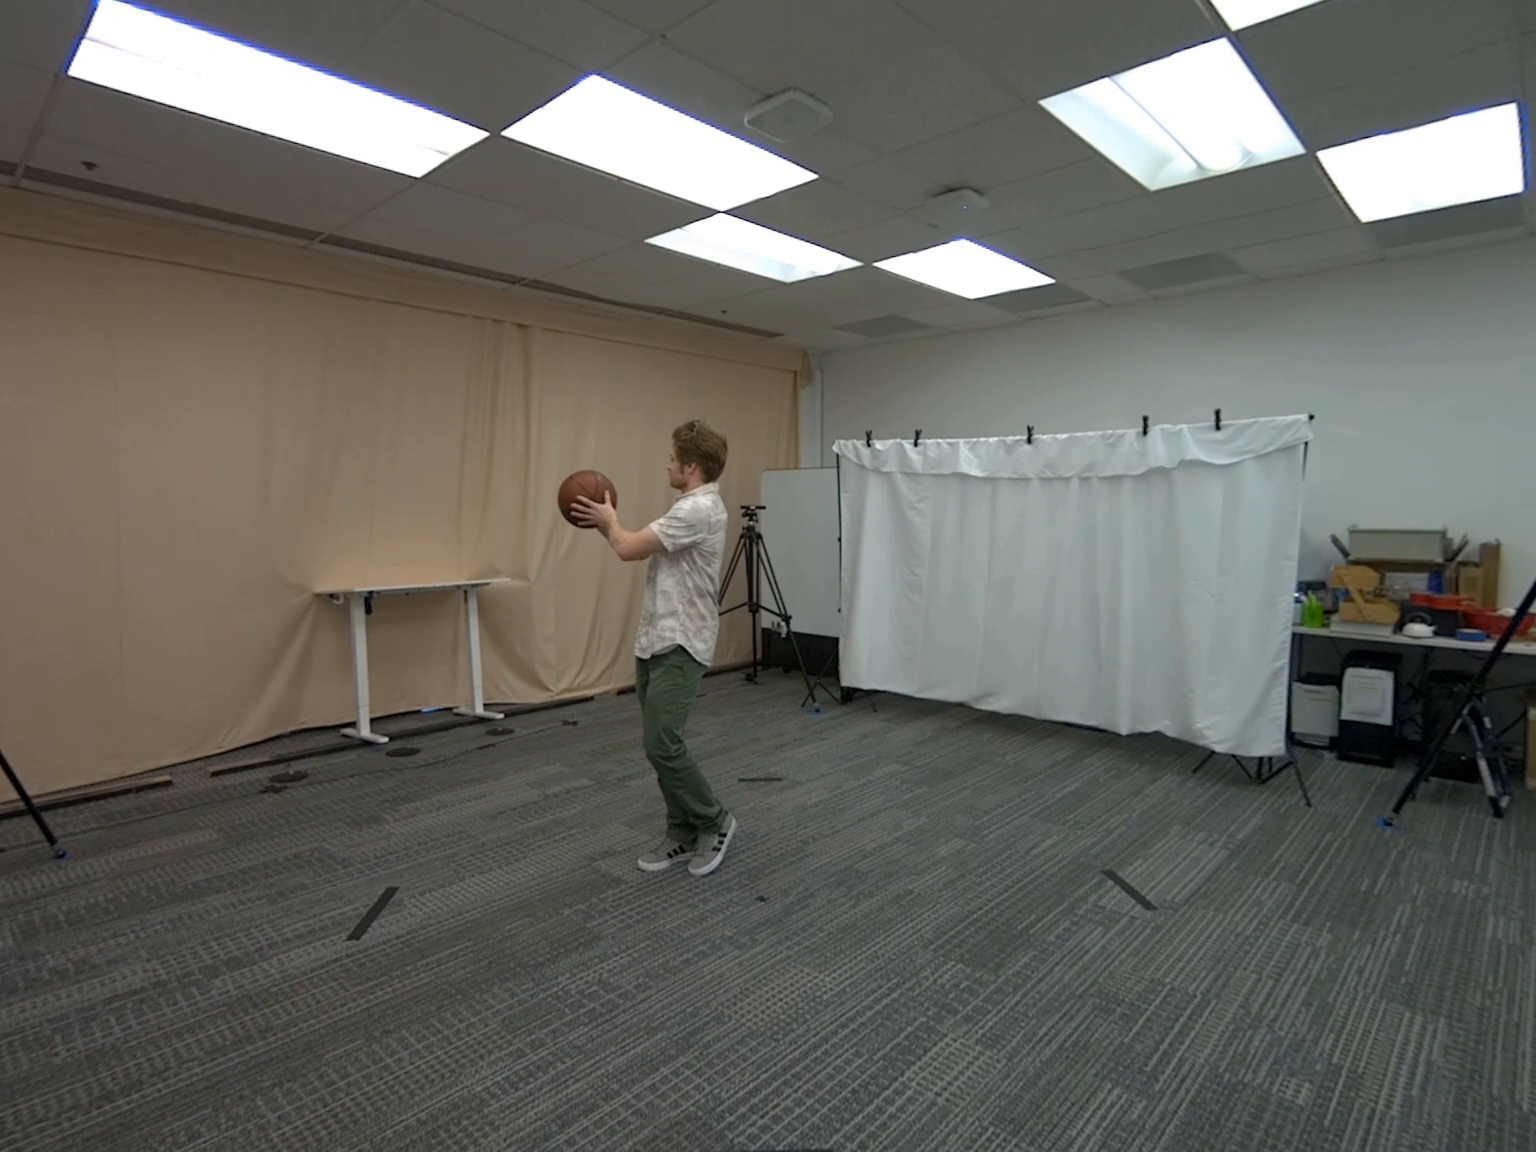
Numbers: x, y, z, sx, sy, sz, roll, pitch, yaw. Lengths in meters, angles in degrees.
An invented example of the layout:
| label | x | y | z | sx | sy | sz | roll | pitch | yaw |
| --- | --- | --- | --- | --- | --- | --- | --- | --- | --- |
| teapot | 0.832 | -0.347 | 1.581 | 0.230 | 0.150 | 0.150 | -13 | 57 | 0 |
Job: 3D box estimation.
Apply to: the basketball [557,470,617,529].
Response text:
| label | x | y | z | sx | sy | sz | roll | pitch | yaw |
| --- | --- | --- | --- | --- | --- | --- | --- | --- | --- |
| basketball | -0.745 | -0.312 | 3.412 | 0.236 | 0.235 | 0.237 | 0 | 4 | -2 |
